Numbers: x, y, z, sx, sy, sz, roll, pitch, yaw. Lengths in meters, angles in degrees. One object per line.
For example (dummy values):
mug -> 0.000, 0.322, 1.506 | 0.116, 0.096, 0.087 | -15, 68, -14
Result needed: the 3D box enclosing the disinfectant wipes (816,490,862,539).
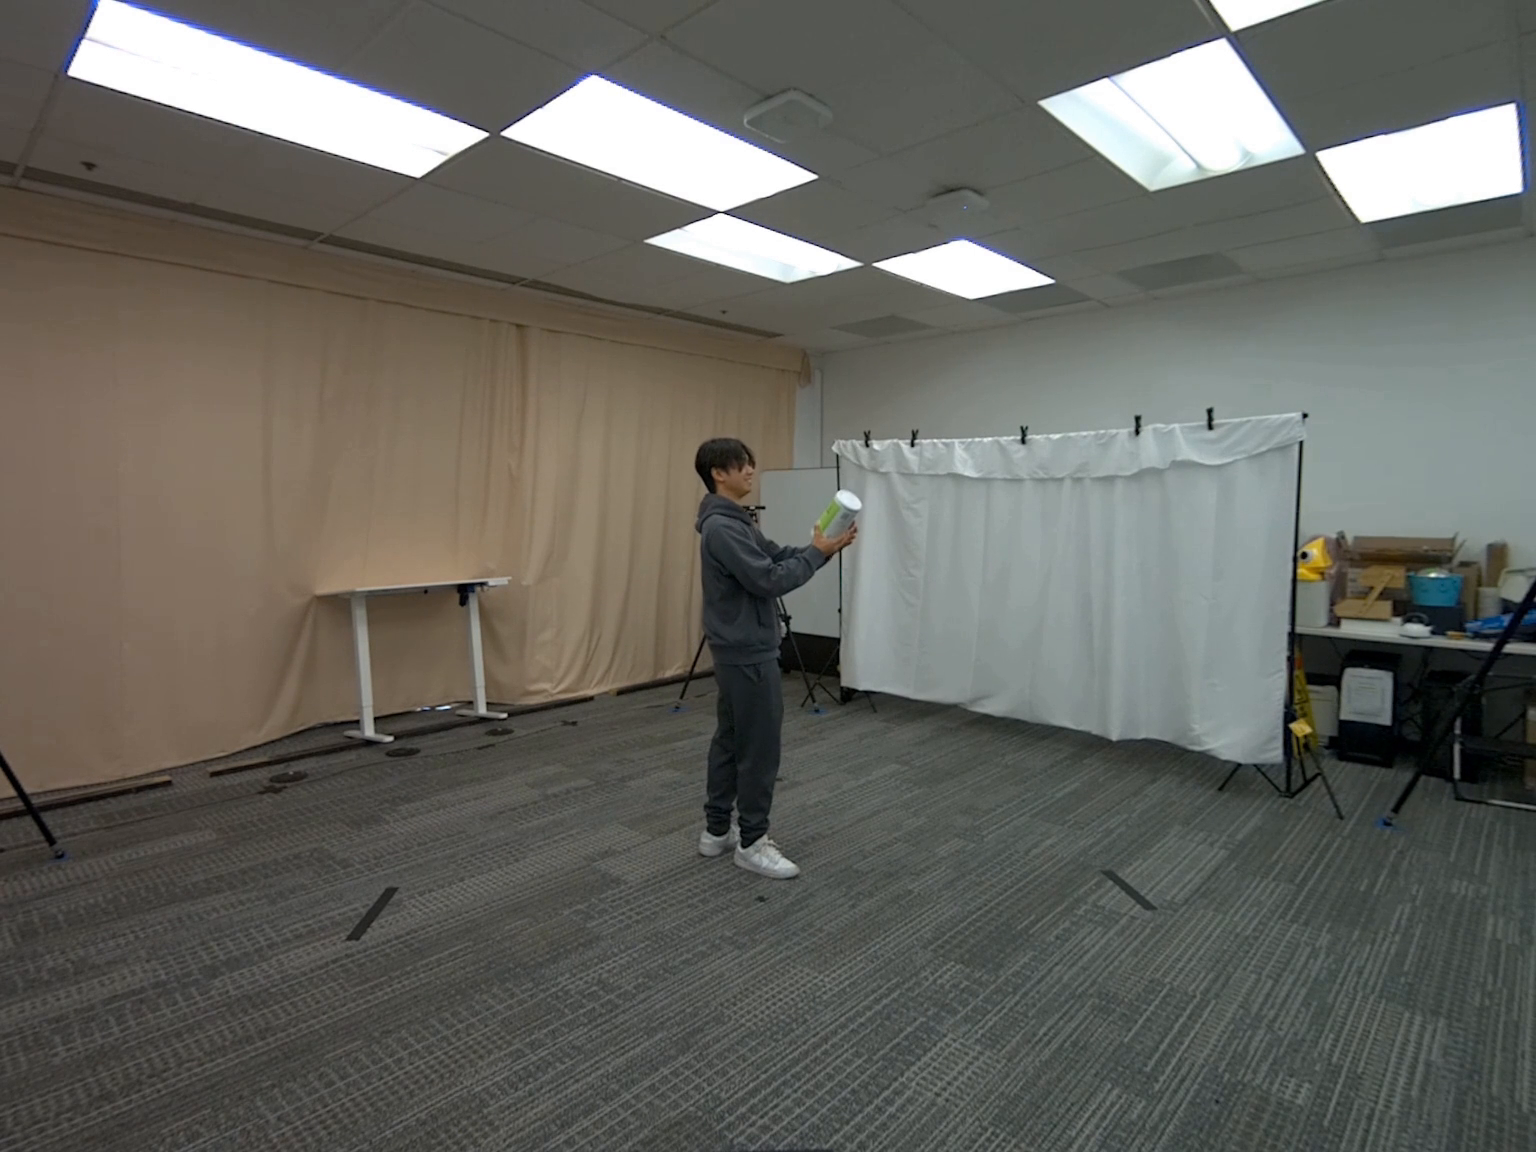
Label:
disinfectant wipes -> 0.268, -0.216, 3.198 | 0.115, 0.217, 0.120 | 21, 36, -18
